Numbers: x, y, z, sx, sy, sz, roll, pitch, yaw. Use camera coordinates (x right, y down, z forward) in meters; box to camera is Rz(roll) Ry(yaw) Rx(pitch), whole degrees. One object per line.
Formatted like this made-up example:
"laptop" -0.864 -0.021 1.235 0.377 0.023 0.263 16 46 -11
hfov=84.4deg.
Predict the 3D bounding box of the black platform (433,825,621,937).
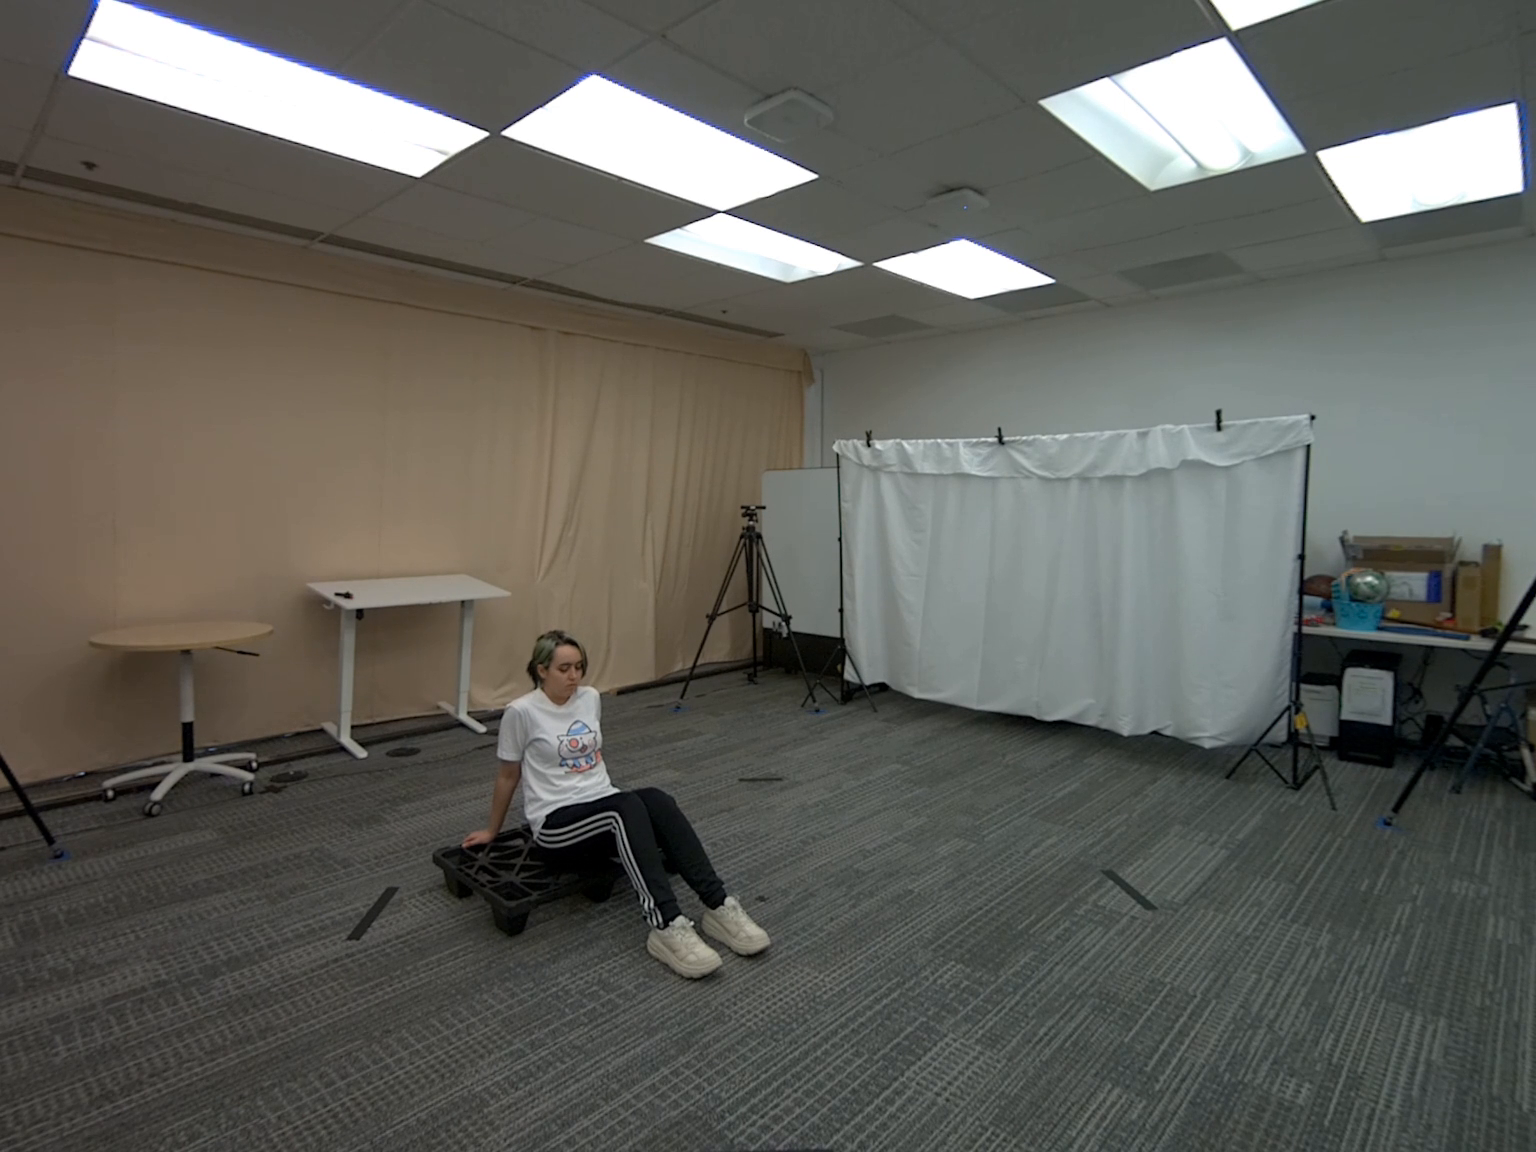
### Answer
"black platform" -0.744 1.069 3.145 0.781 0.143 0.625 -5 7 -43
